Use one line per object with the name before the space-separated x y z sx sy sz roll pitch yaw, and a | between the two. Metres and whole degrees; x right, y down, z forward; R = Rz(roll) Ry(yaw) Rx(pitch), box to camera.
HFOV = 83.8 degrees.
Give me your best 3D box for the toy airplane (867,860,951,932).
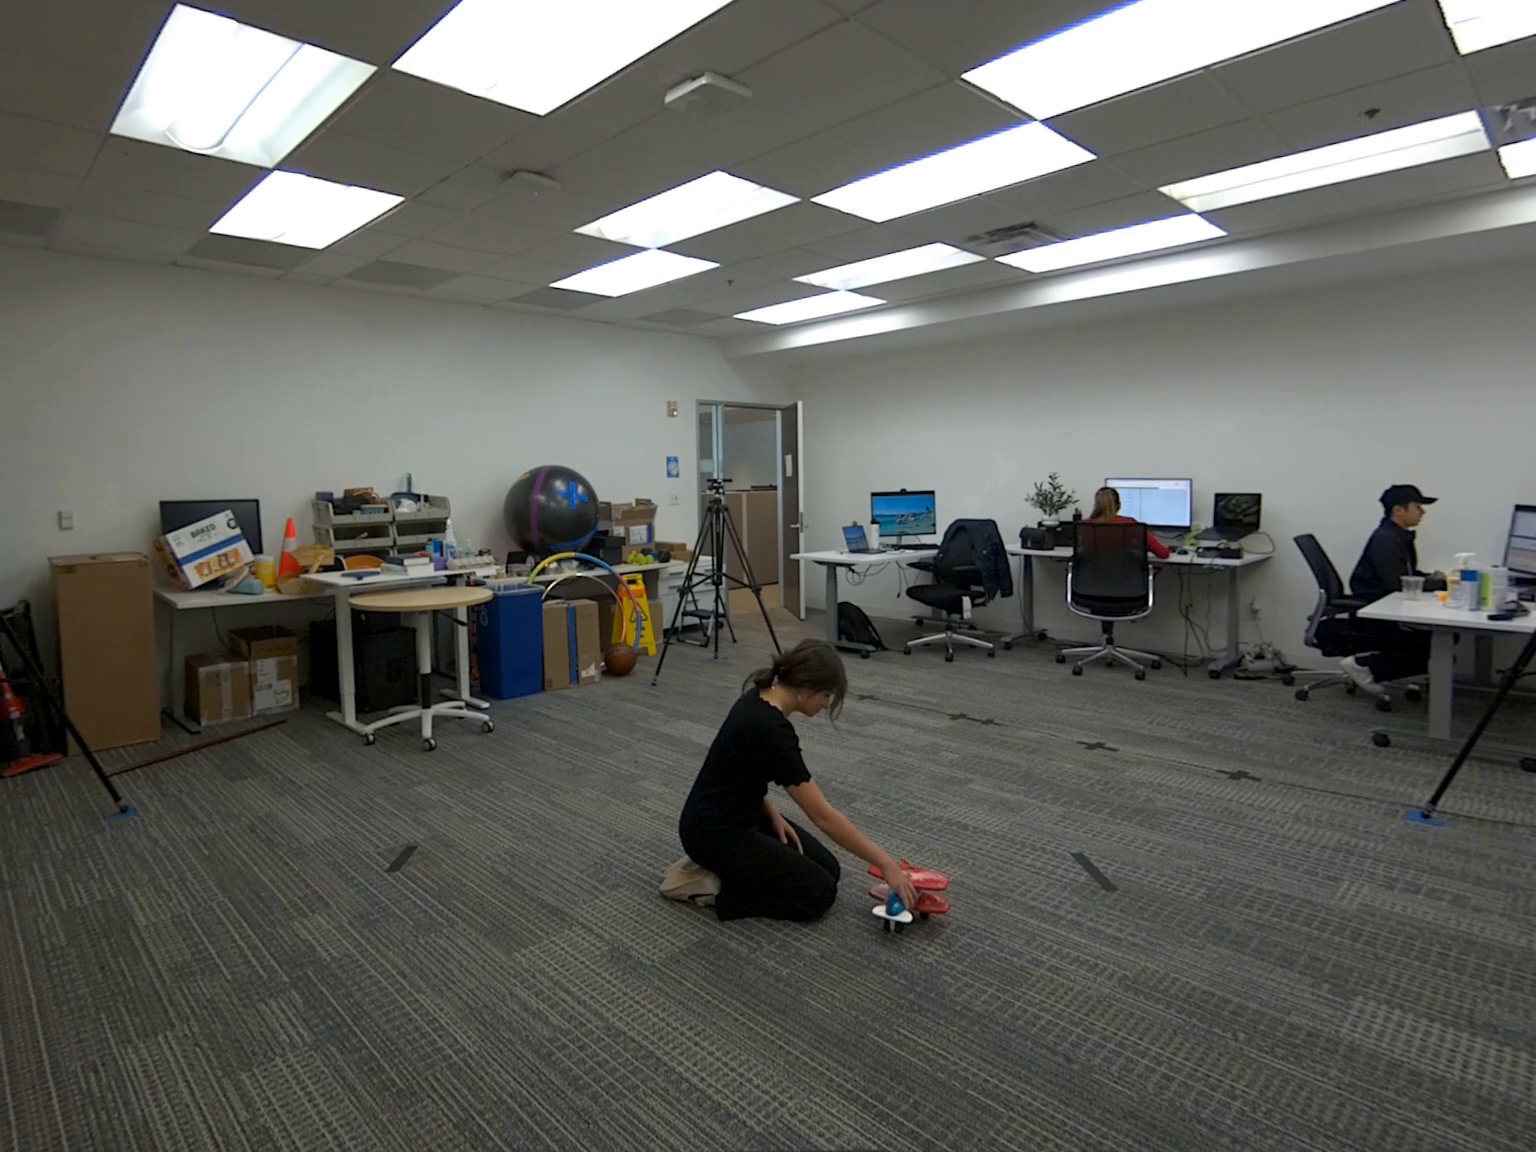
toy airplane | 0.441 1.001 2.651 0.252 0.157 0.258 3 -2 1
